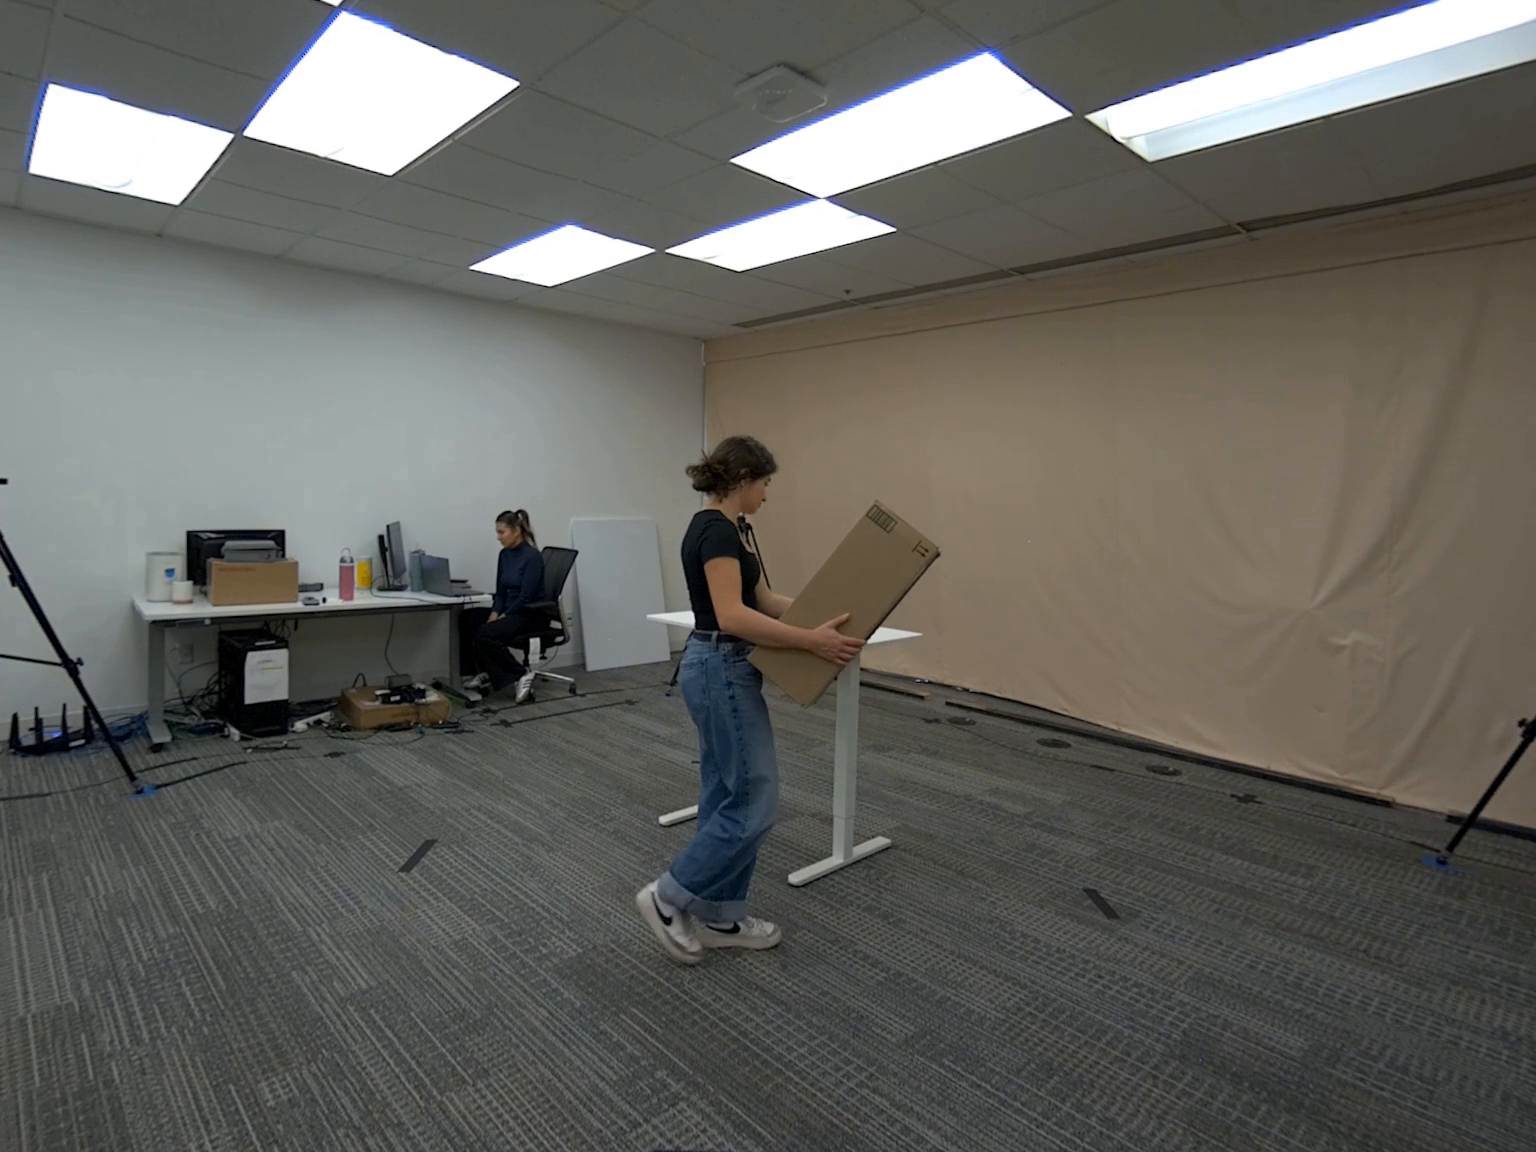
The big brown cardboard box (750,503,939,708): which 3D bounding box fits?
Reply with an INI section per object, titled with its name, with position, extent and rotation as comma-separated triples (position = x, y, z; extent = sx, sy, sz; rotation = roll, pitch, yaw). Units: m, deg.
[big brown cardboard box]
position = 0.231, 0.080, 2.458
extent = 0.236, 0.588, 0.413
rotation = 41, 7, 9
